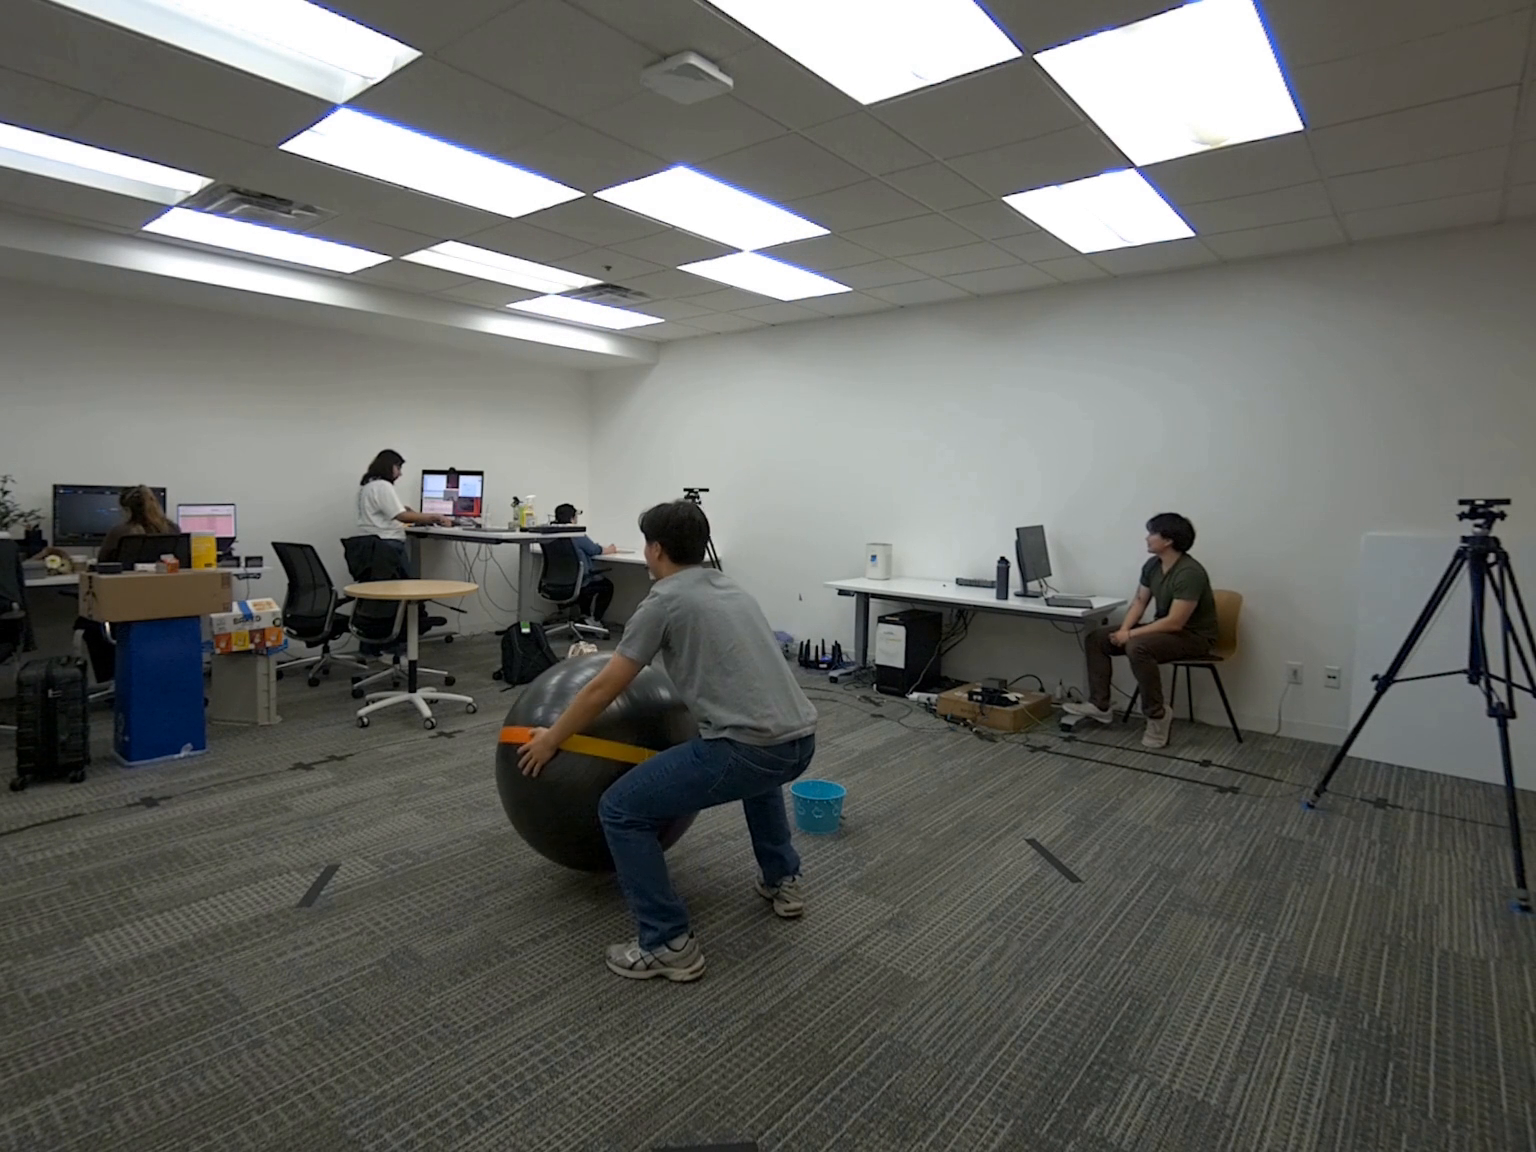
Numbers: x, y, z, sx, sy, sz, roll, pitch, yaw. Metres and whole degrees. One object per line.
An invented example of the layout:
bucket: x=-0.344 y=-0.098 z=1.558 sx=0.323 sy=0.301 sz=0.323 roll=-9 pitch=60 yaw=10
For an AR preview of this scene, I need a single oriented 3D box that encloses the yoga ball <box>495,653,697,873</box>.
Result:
yoga ball: x=-0.602 y=0.635 z=3.035 sx=0.757 sy=0.755 sz=0.762 roll=1 pitch=4 yaw=-2
